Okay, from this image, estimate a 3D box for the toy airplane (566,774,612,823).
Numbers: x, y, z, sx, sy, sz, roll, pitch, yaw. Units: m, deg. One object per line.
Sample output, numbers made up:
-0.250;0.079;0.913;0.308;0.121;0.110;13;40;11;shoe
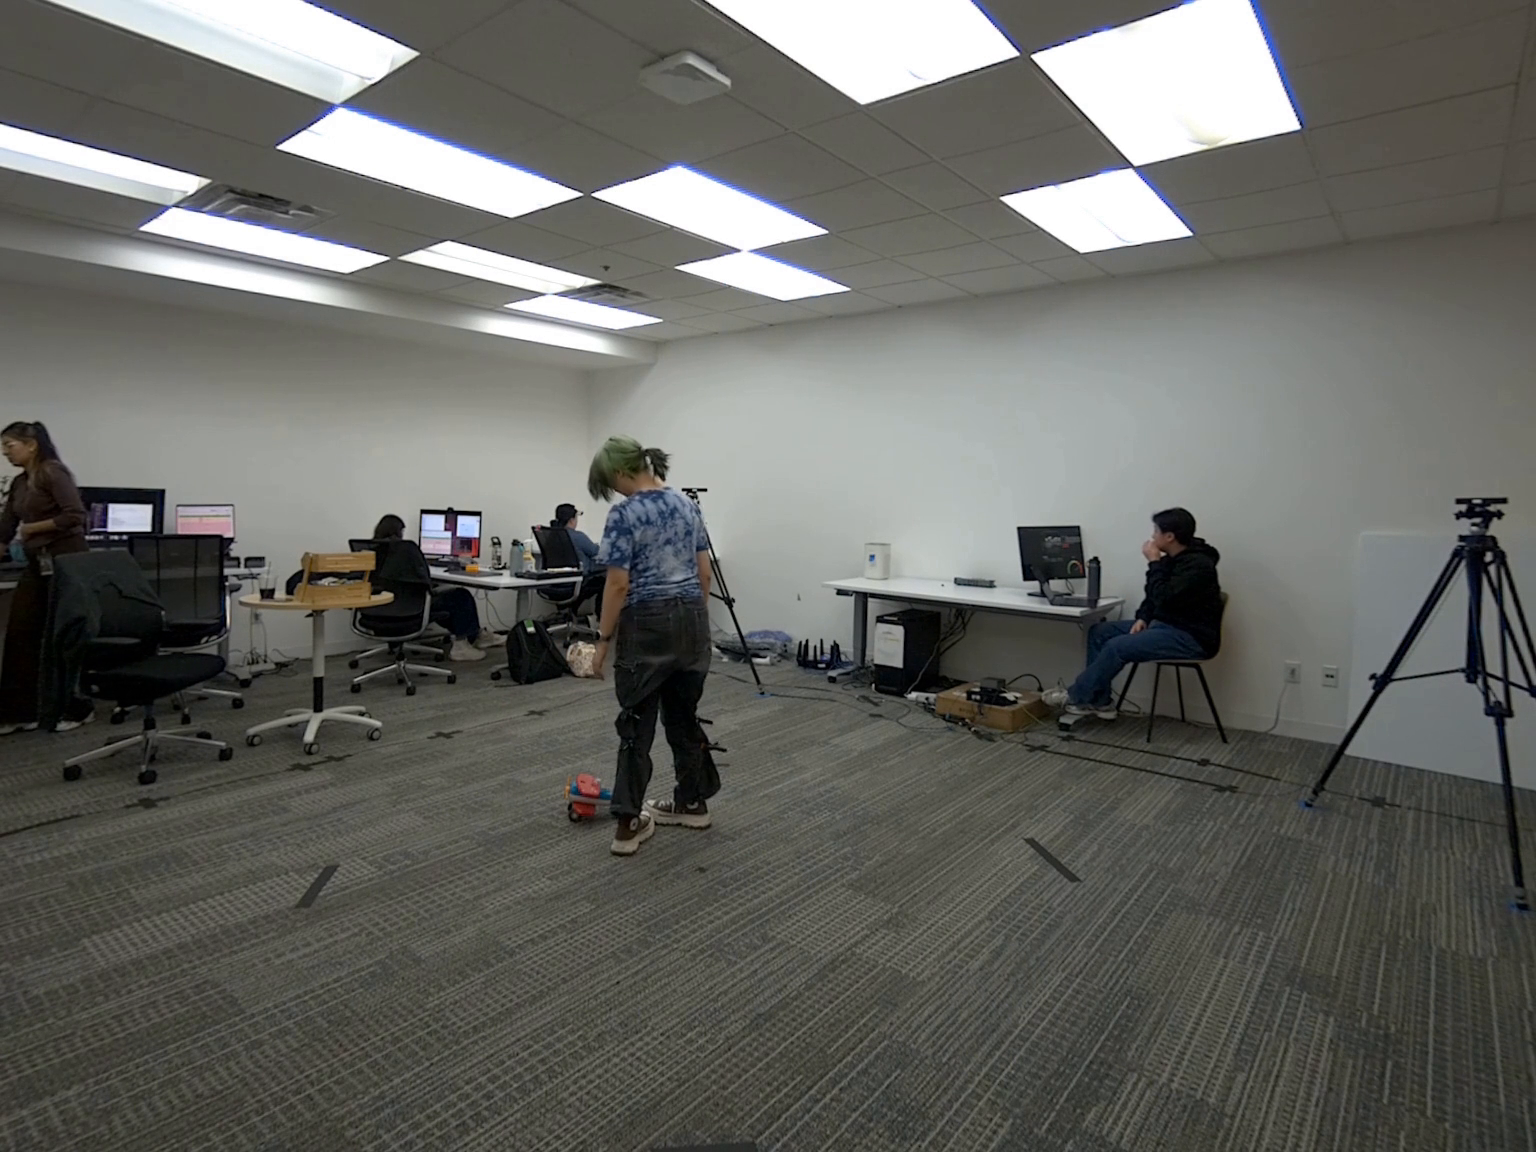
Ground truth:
-0.754;0.942;3.619;0.252;0.156;0.259;-4;7;-40;toy airplane
